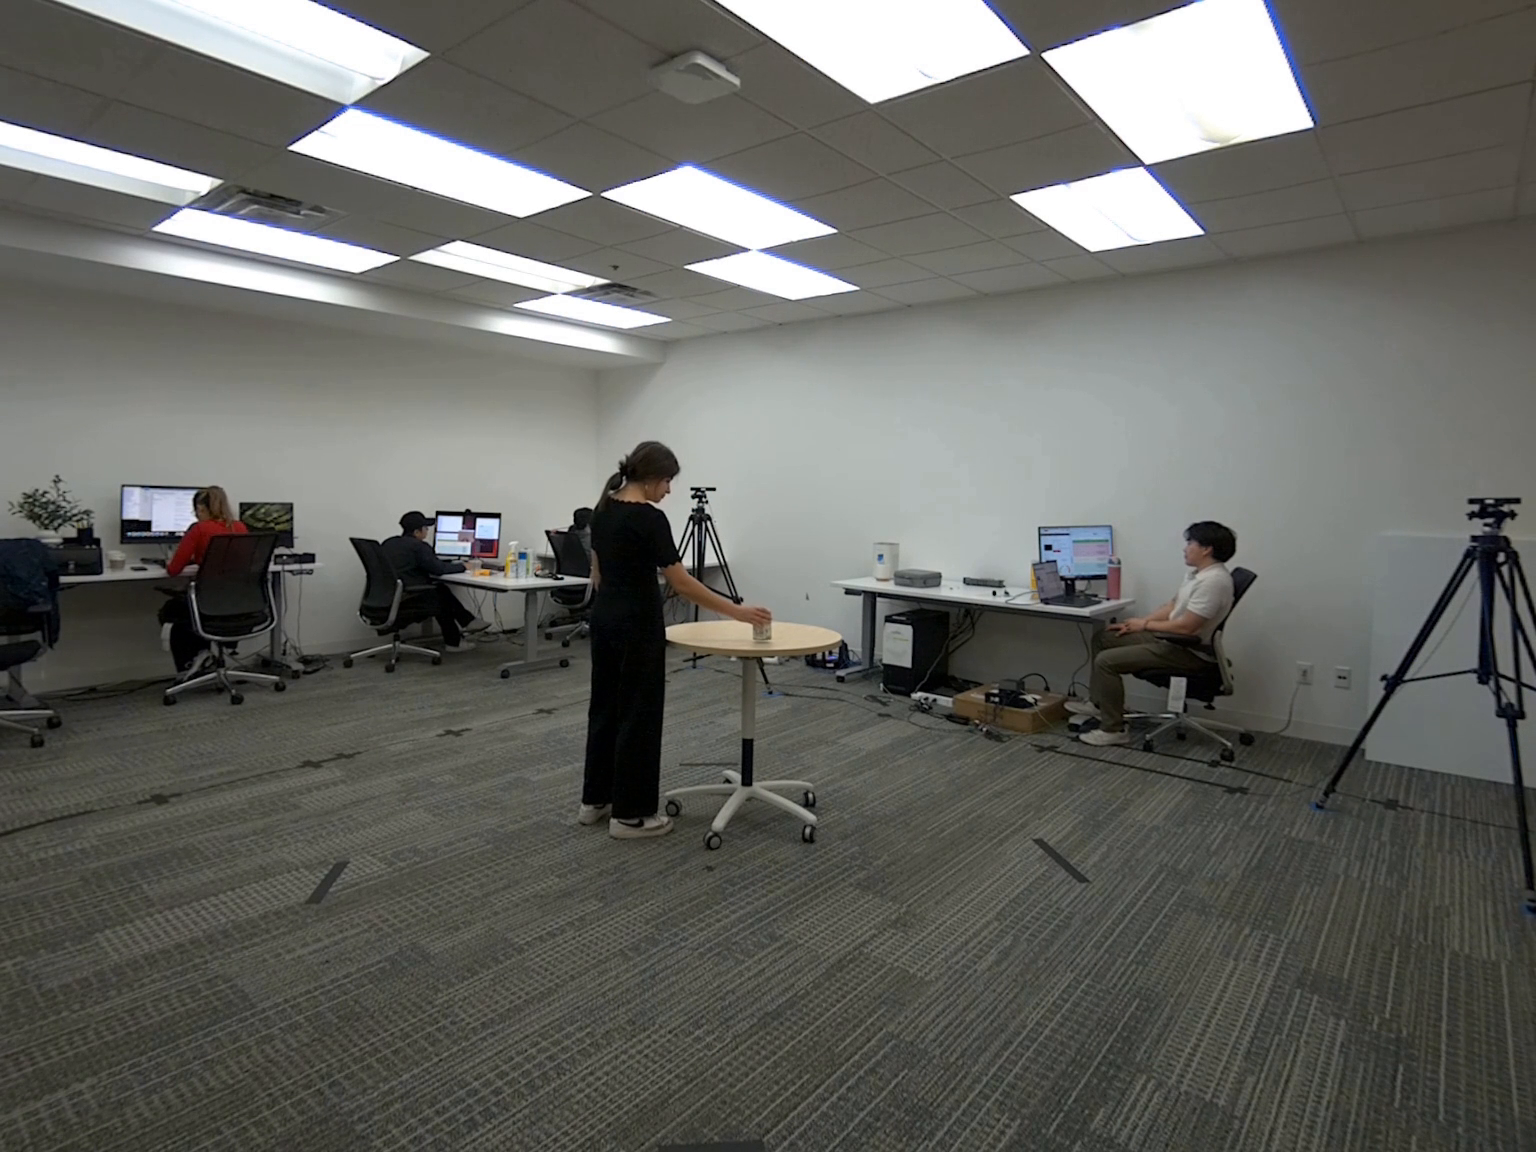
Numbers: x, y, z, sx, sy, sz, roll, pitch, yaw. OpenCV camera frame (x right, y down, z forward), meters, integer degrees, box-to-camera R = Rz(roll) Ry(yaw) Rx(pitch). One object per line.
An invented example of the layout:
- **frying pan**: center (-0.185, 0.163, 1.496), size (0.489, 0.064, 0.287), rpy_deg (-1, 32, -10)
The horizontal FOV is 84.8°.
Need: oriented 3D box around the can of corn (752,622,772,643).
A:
- **can of corn**: center (-0.041, 0.193, 3.364), size (0.074, 0.111, 0.074), rpy_deg (-2, 2, -2)
